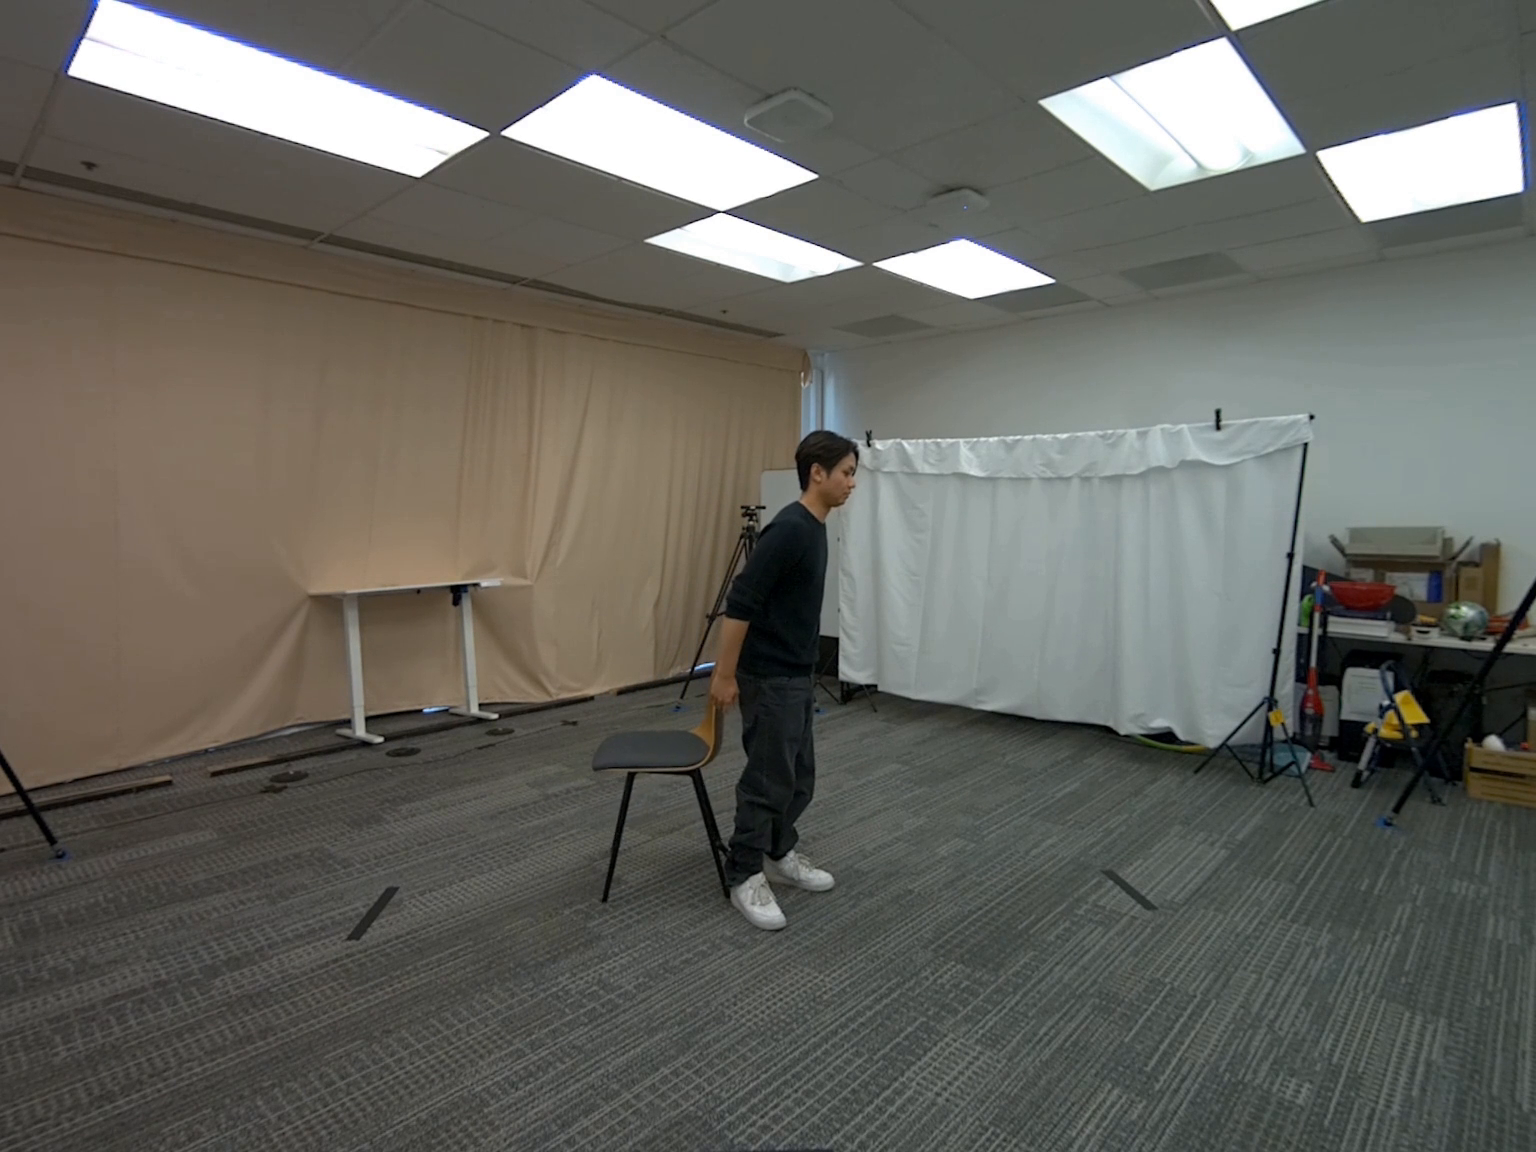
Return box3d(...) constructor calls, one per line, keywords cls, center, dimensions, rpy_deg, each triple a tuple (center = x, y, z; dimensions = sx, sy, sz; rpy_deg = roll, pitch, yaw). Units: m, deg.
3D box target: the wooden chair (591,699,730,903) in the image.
box3d(cls="wooden chair", center=(-0.388, 0.703, 3.163), dimensions=(0.520, 0.875, 0.482), rpy_deg=(3, 4, -6))
